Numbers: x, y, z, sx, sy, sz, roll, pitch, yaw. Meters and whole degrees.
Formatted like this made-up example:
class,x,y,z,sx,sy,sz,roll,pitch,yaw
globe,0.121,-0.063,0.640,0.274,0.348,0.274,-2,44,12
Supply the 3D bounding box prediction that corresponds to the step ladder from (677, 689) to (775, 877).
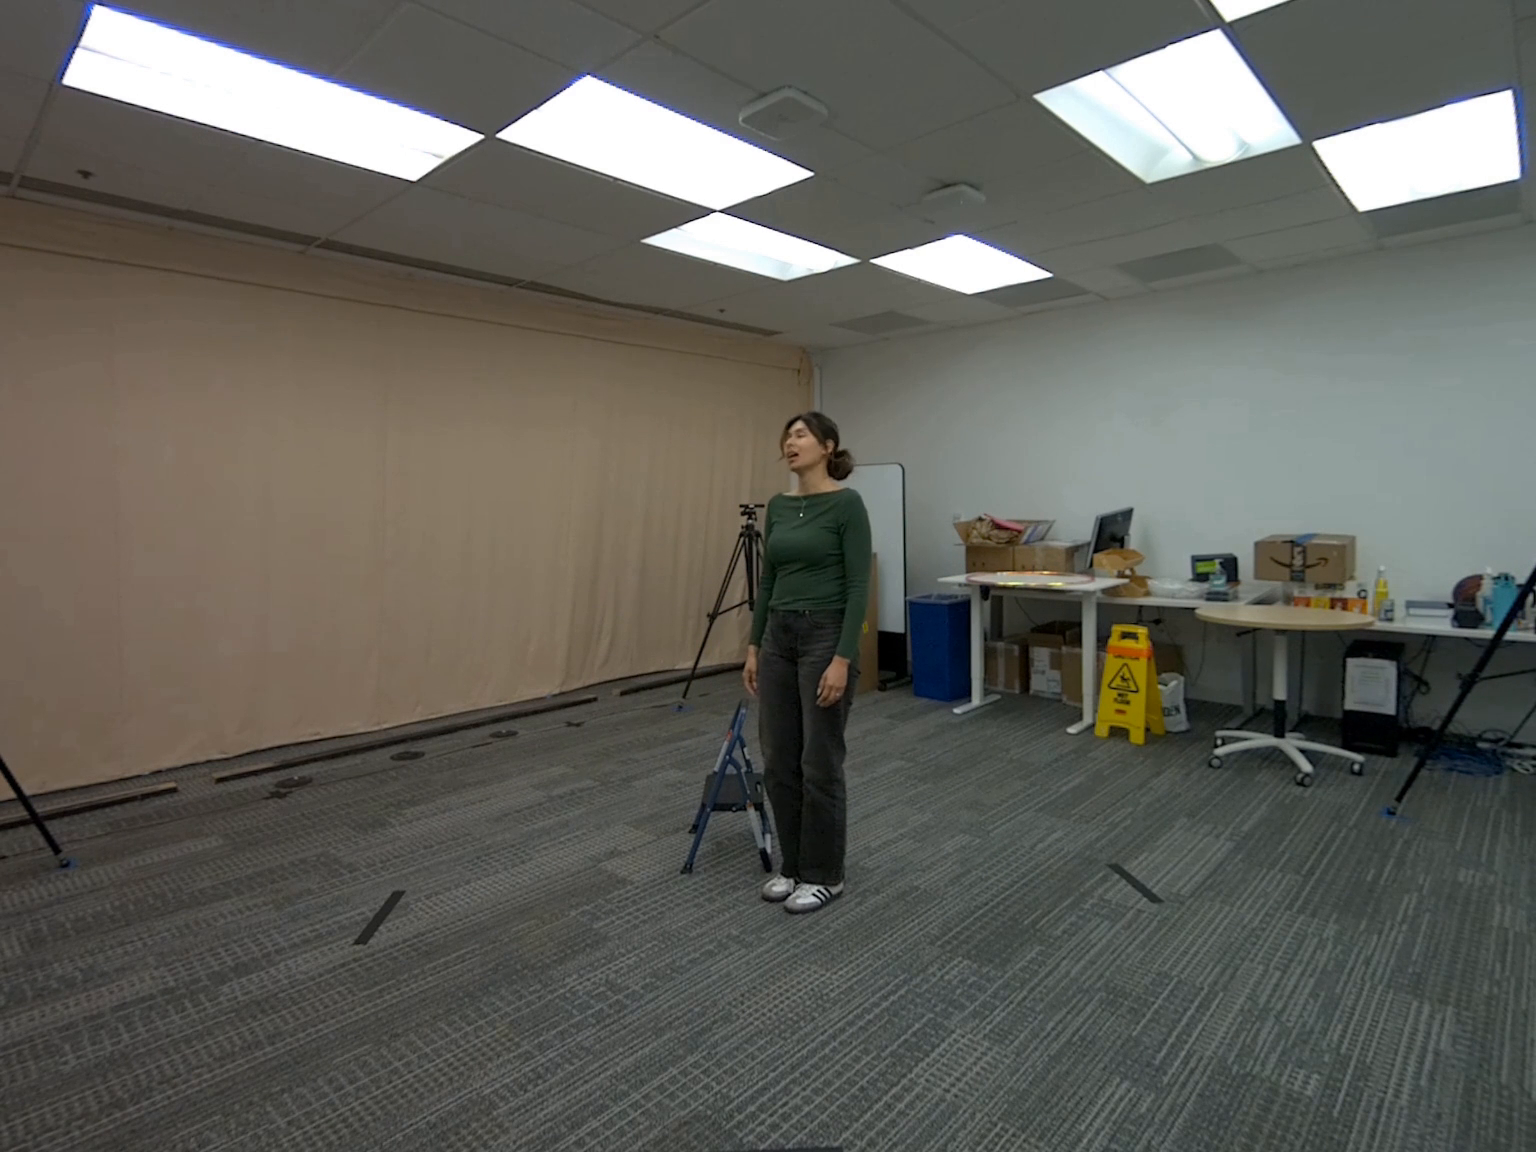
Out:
class,x,y,z,sx,sy,sz,roll,pitch,yaw
step ladder,-0.164,0.803,3.378,0.350,0.604,0.431,-1,4,0
